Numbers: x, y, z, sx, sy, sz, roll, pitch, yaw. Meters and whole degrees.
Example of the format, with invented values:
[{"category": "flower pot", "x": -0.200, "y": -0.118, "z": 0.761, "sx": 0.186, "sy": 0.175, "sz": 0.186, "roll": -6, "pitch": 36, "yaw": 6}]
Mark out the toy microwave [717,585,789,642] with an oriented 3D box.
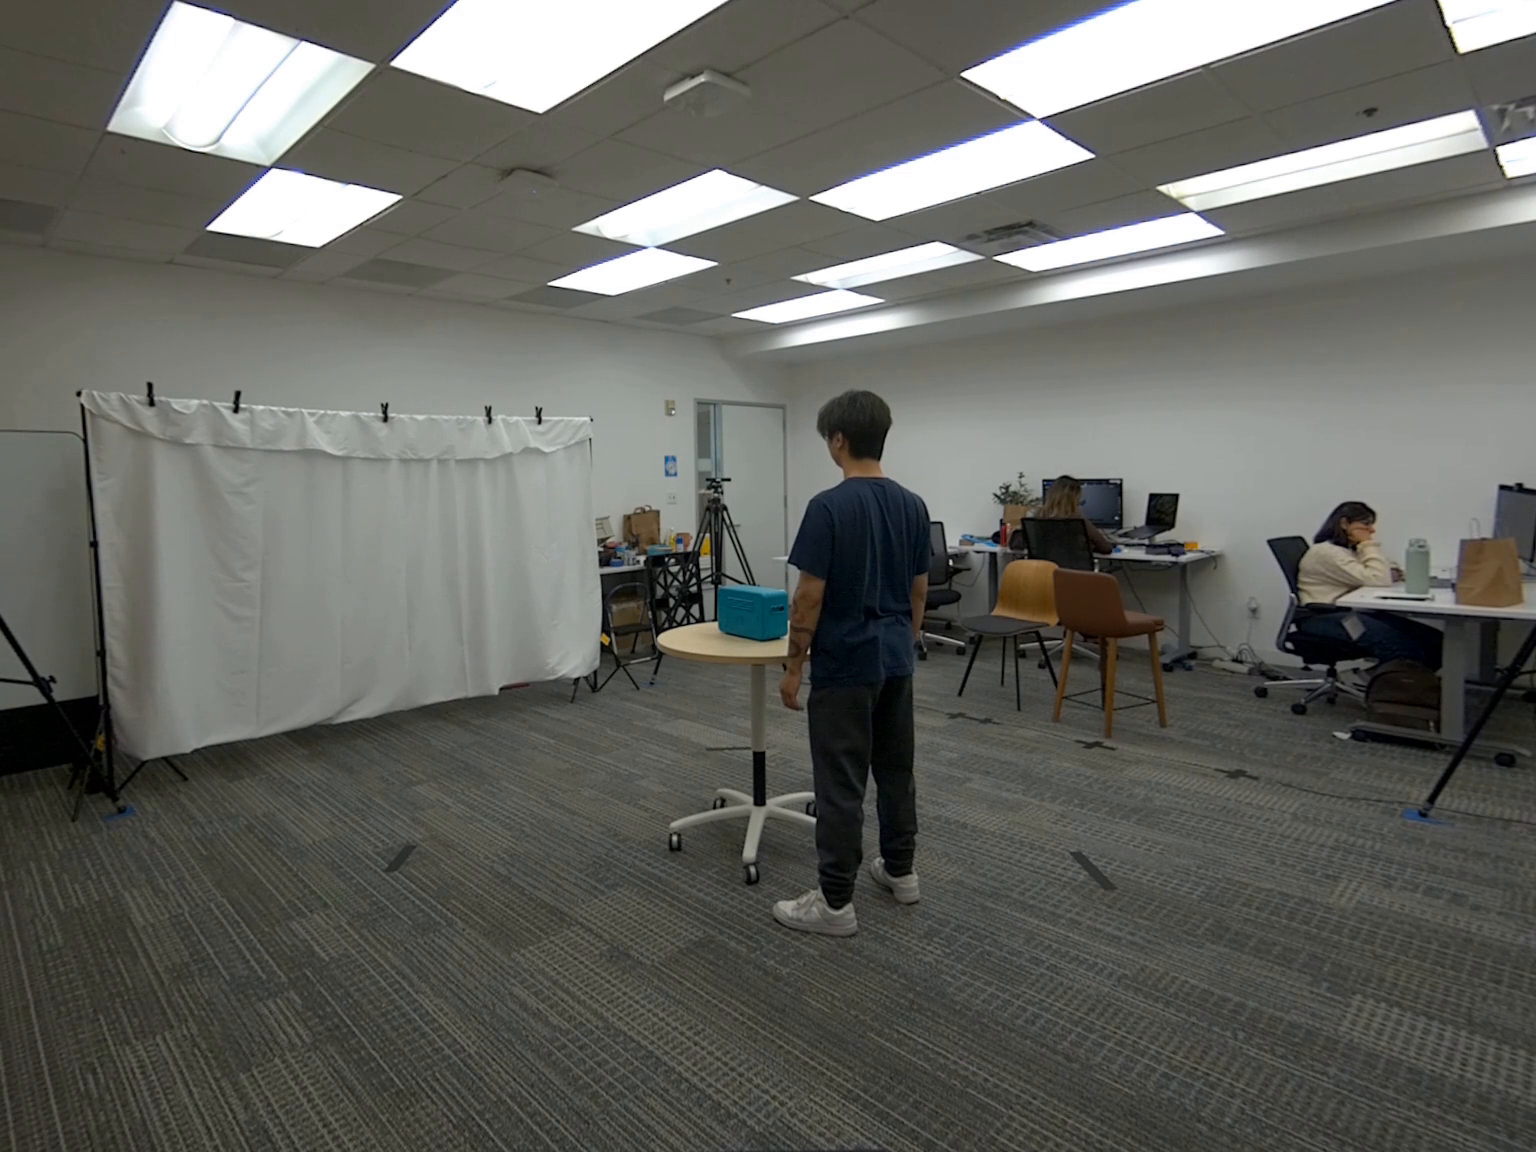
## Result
[{"category": "toy microwave", "x": -0.051, "y": 0.137, "z": 3.264, "sx": 0.148, "sy": 0.183, "sz": 0.295, "roll": -4, "pitch": 6, "yaw": -38}]
